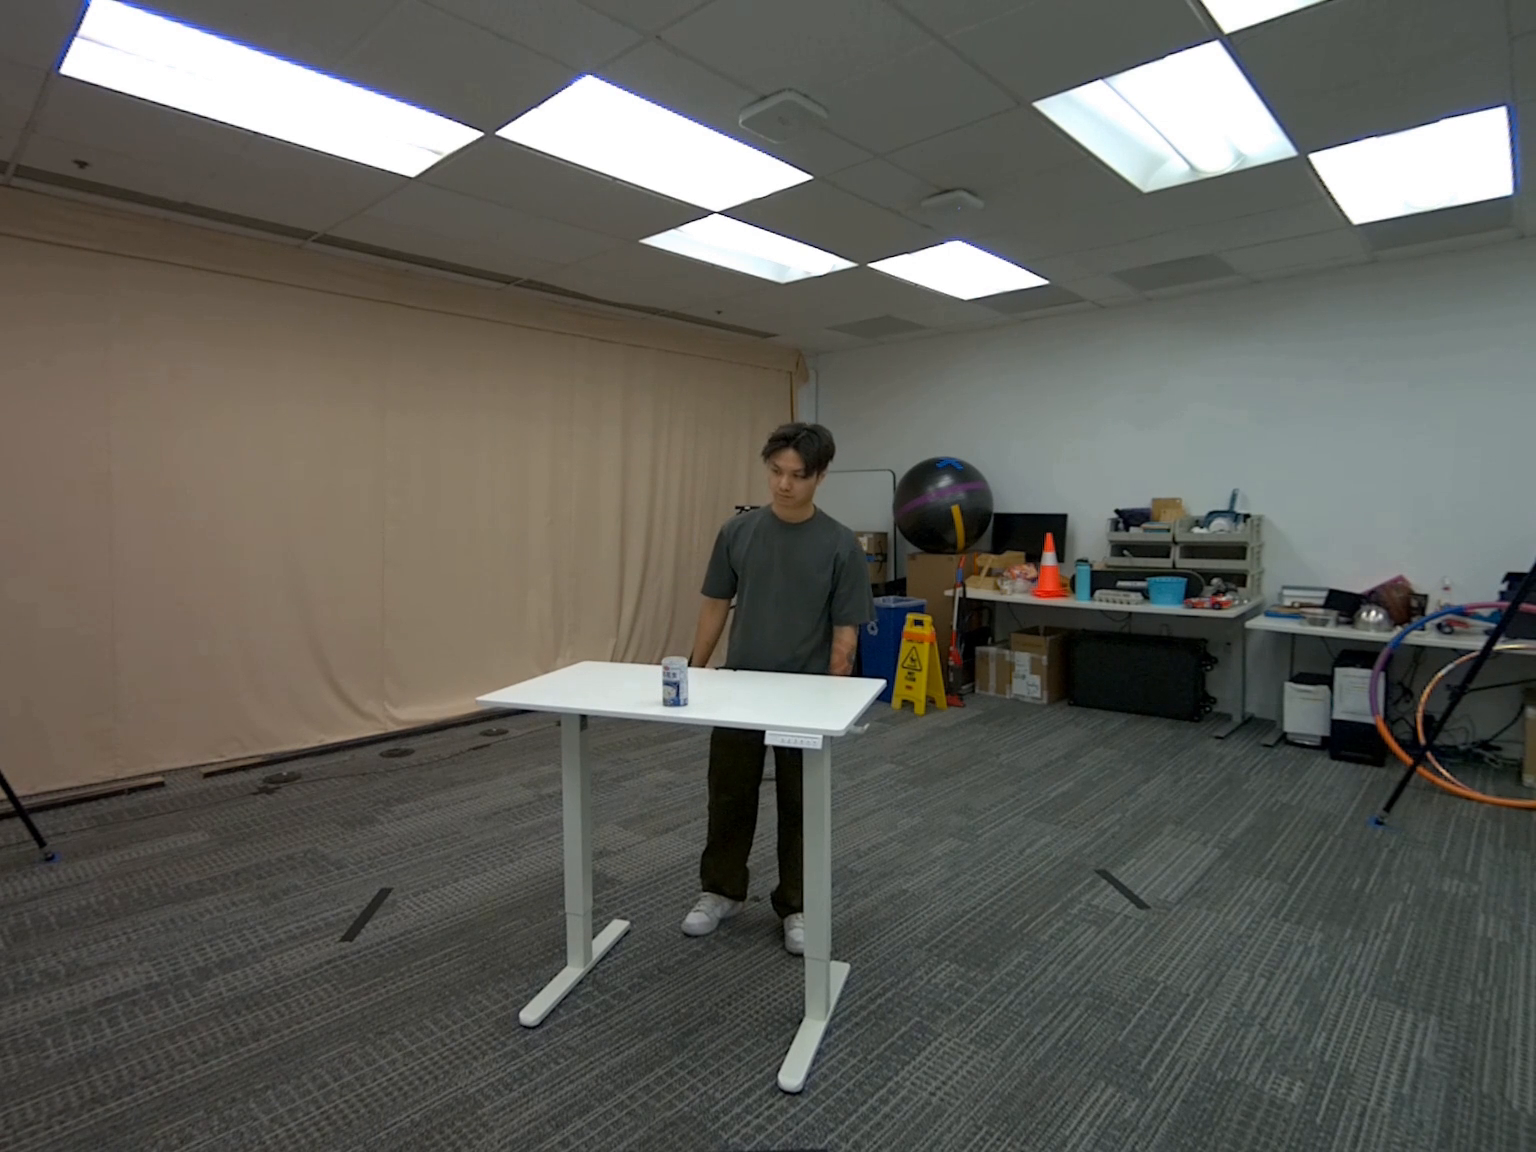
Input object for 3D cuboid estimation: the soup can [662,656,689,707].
[{"bbox_3d":[-0.234,0.273,2.164,0.067,0.121,0.067,0,6,-2],"label":"soup can"}]
